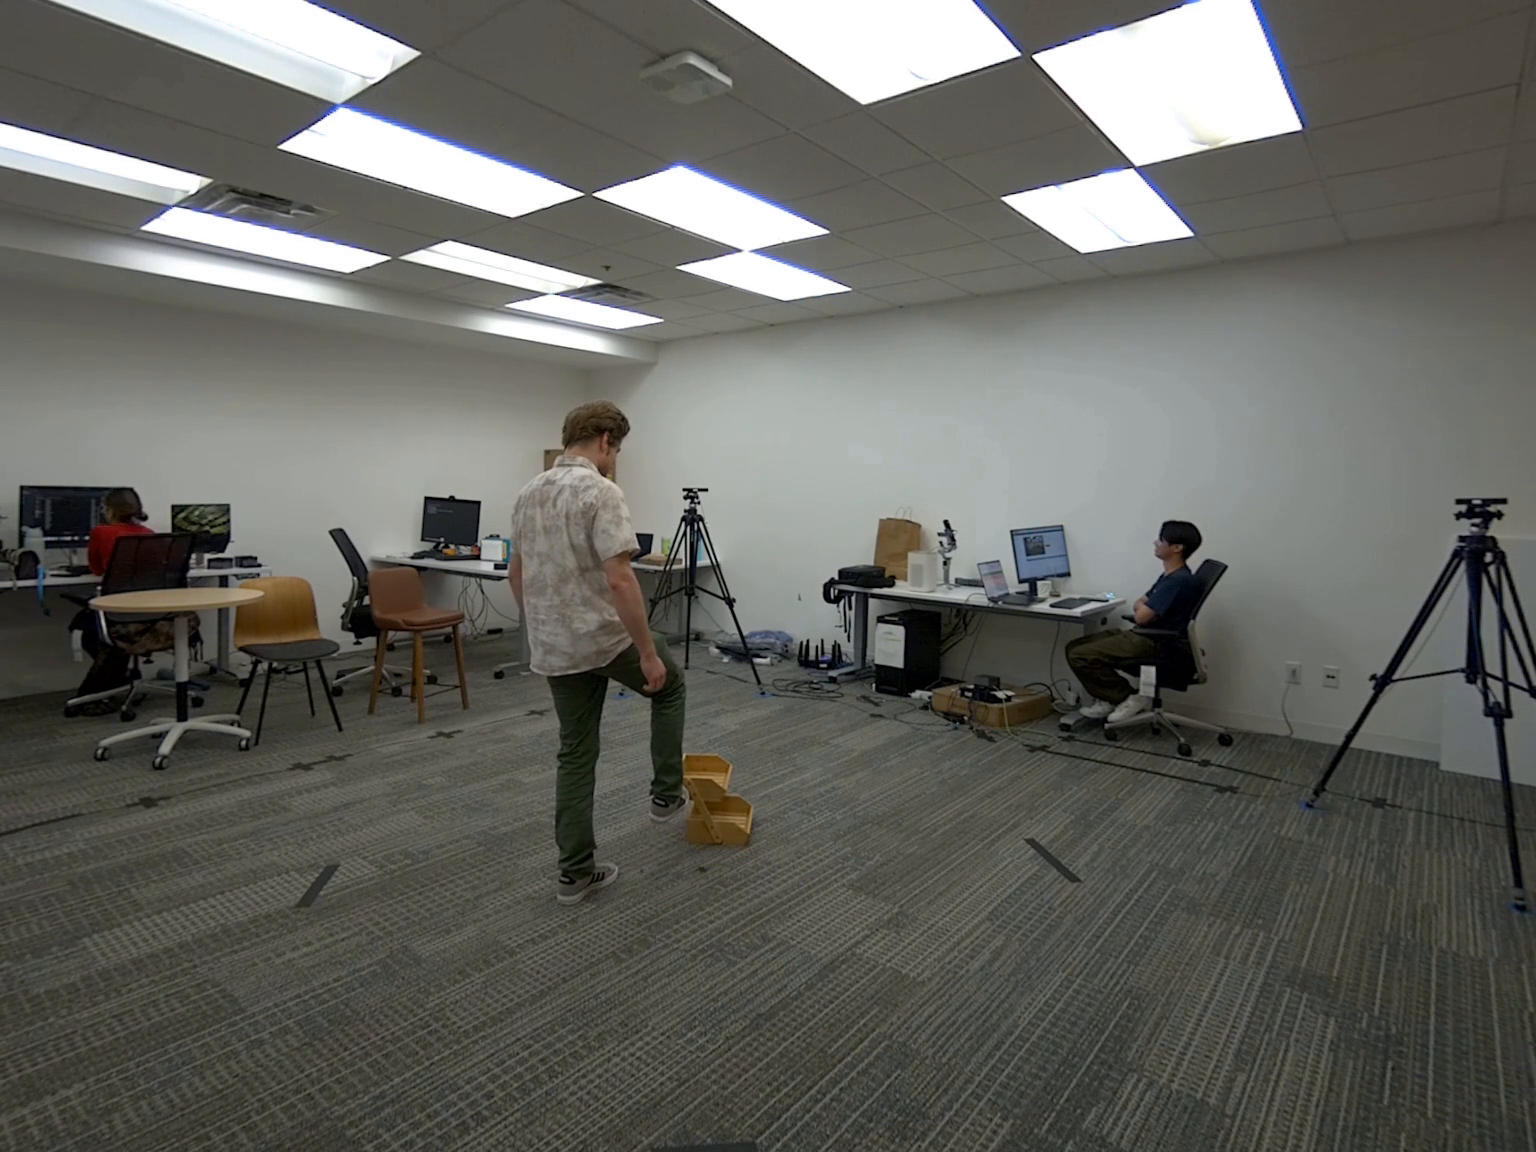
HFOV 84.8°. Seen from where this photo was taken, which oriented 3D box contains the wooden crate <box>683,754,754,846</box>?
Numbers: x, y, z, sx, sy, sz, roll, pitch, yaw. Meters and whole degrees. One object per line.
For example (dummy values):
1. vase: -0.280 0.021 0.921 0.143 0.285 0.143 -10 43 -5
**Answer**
1. wooden crate: -0.220 0.901 3.476 0.303 0.272 0.324 1 4 3
